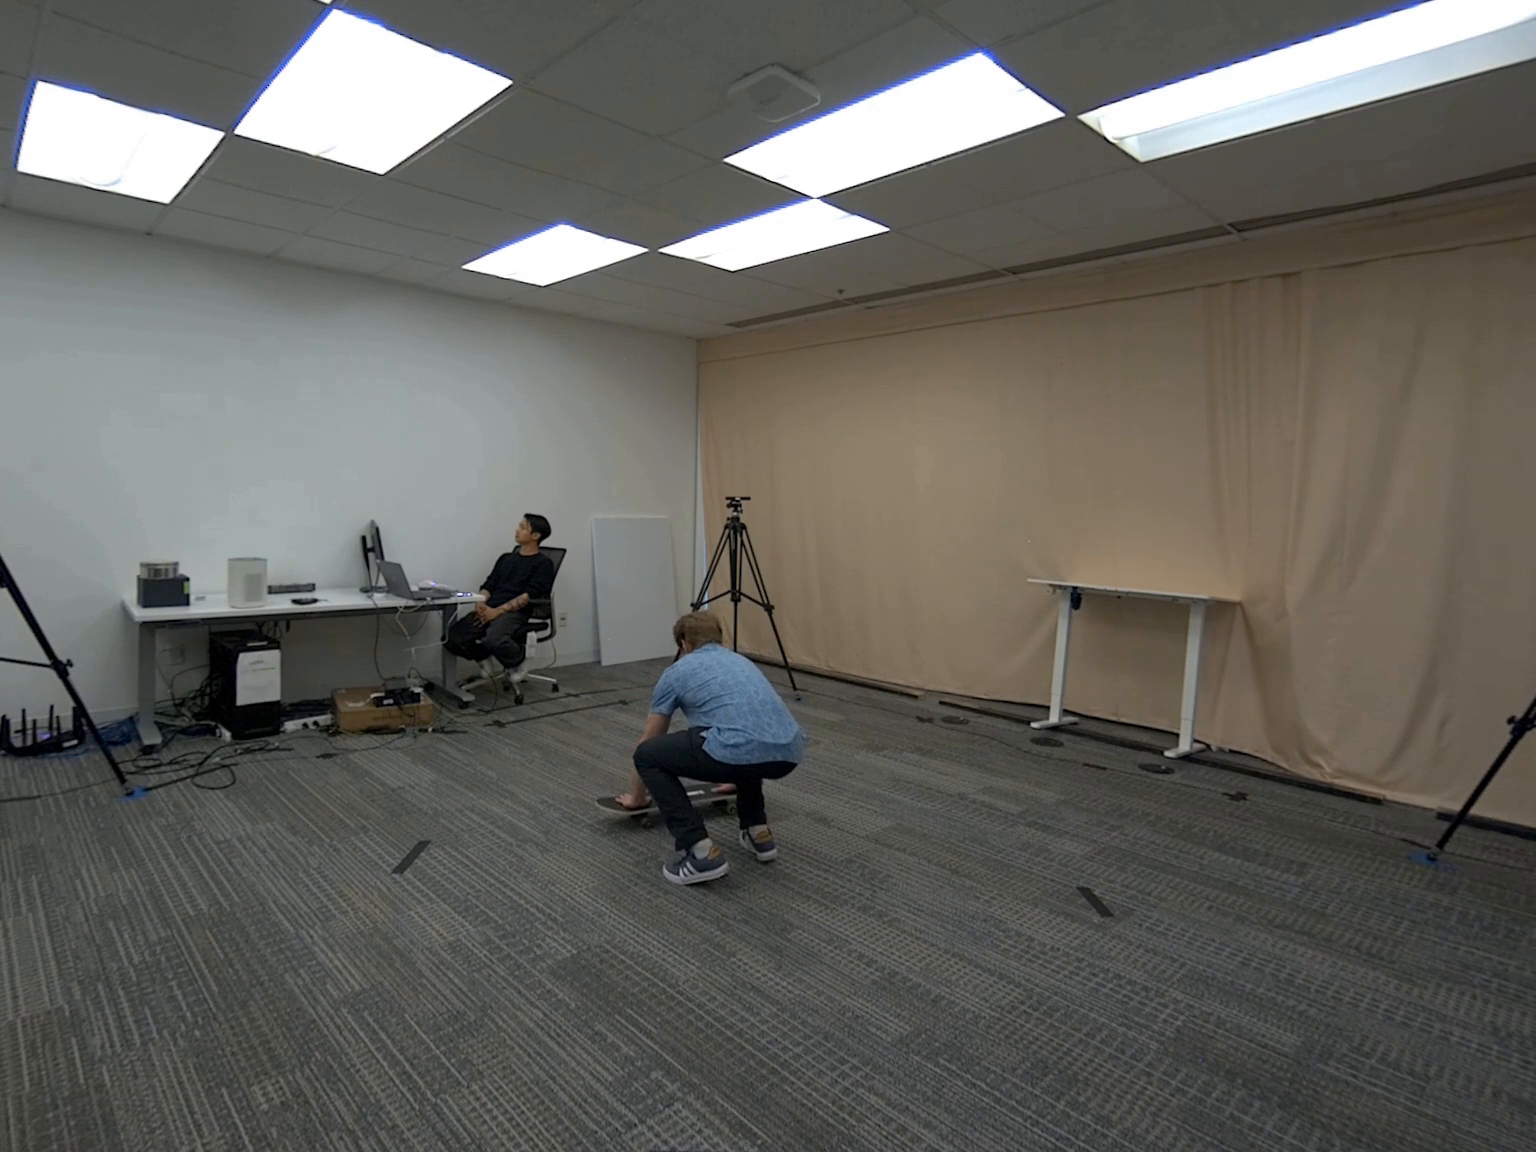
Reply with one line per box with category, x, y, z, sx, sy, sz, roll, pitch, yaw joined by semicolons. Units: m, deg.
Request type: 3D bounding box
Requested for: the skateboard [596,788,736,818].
skateboard;-0.384;0.997;3.694;0.770;0.110;0.198;-2;5;-29
